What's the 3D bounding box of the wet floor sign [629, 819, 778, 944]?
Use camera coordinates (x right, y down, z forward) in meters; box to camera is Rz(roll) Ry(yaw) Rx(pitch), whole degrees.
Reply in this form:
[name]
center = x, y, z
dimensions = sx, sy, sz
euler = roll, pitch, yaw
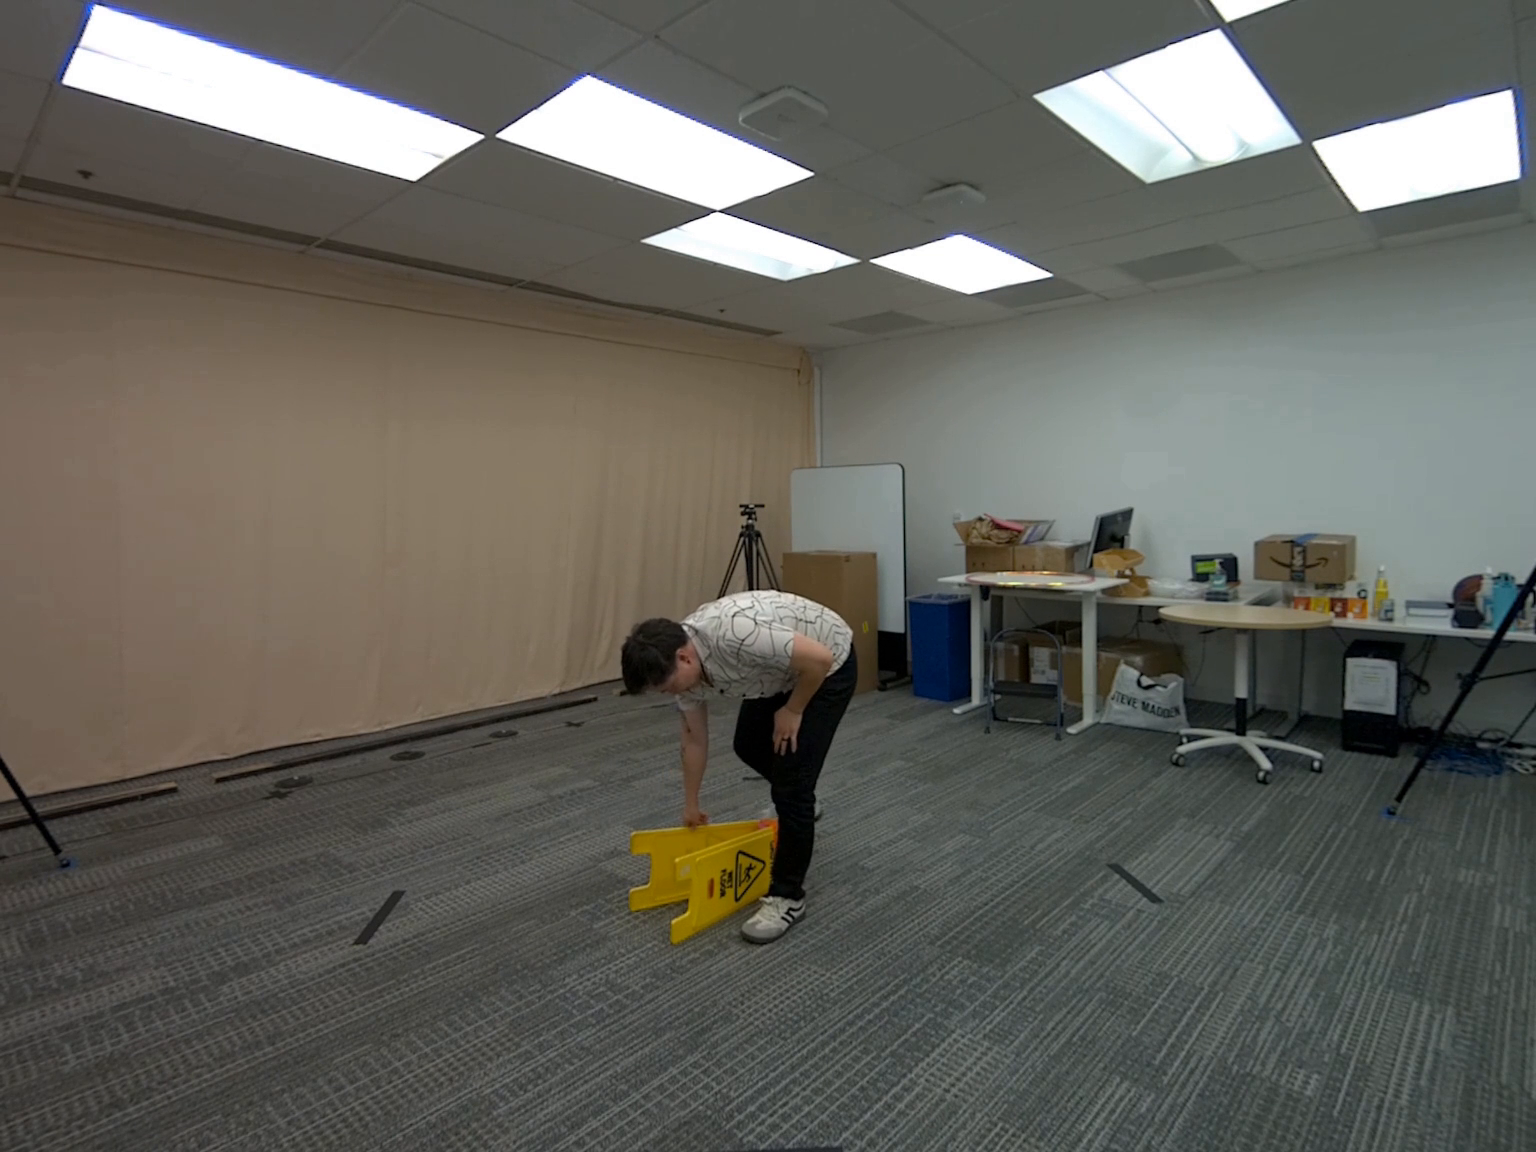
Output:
[wet floor sign]
center = -0.135, 1.015, 2.959
dimensions = 0.627, 0.281, 0.299
euler = -2, 5, -36
